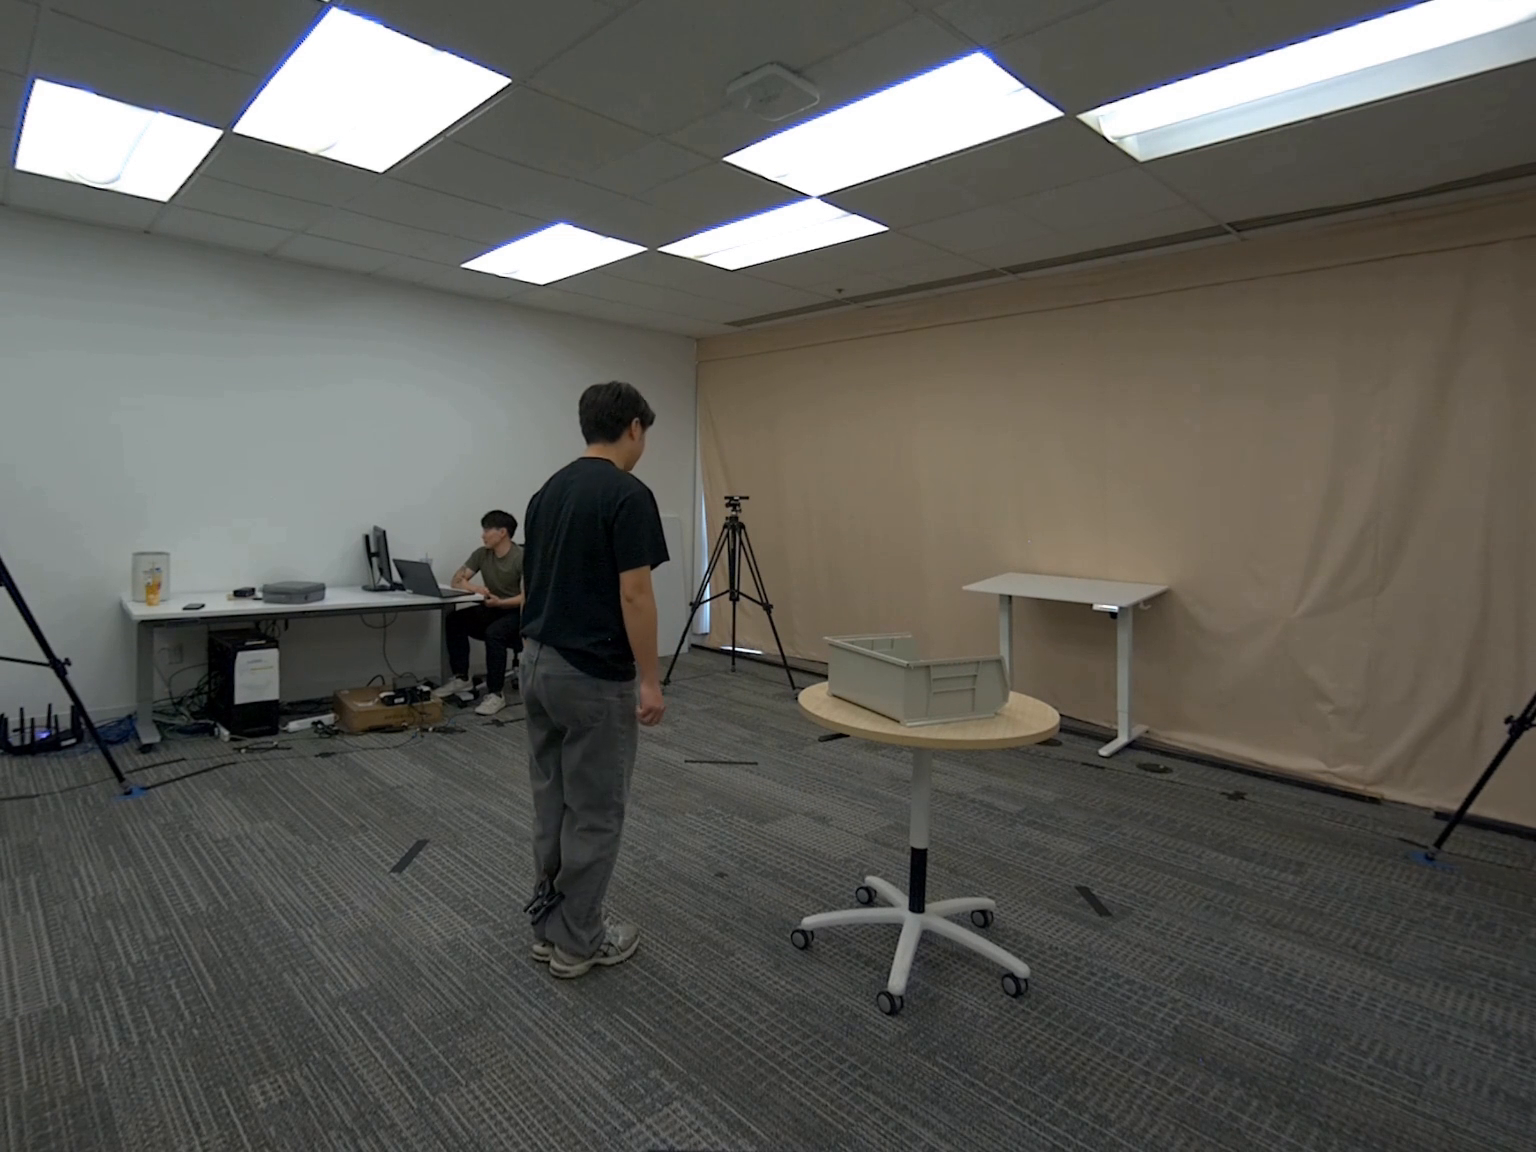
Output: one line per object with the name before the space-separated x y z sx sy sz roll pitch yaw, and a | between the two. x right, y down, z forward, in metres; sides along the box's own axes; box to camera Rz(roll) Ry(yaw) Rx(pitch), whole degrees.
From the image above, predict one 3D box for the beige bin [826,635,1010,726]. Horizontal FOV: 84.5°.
beige bin | 0.432 0.300 2.523 0.370 0.188 0.431 -2 6 -27
